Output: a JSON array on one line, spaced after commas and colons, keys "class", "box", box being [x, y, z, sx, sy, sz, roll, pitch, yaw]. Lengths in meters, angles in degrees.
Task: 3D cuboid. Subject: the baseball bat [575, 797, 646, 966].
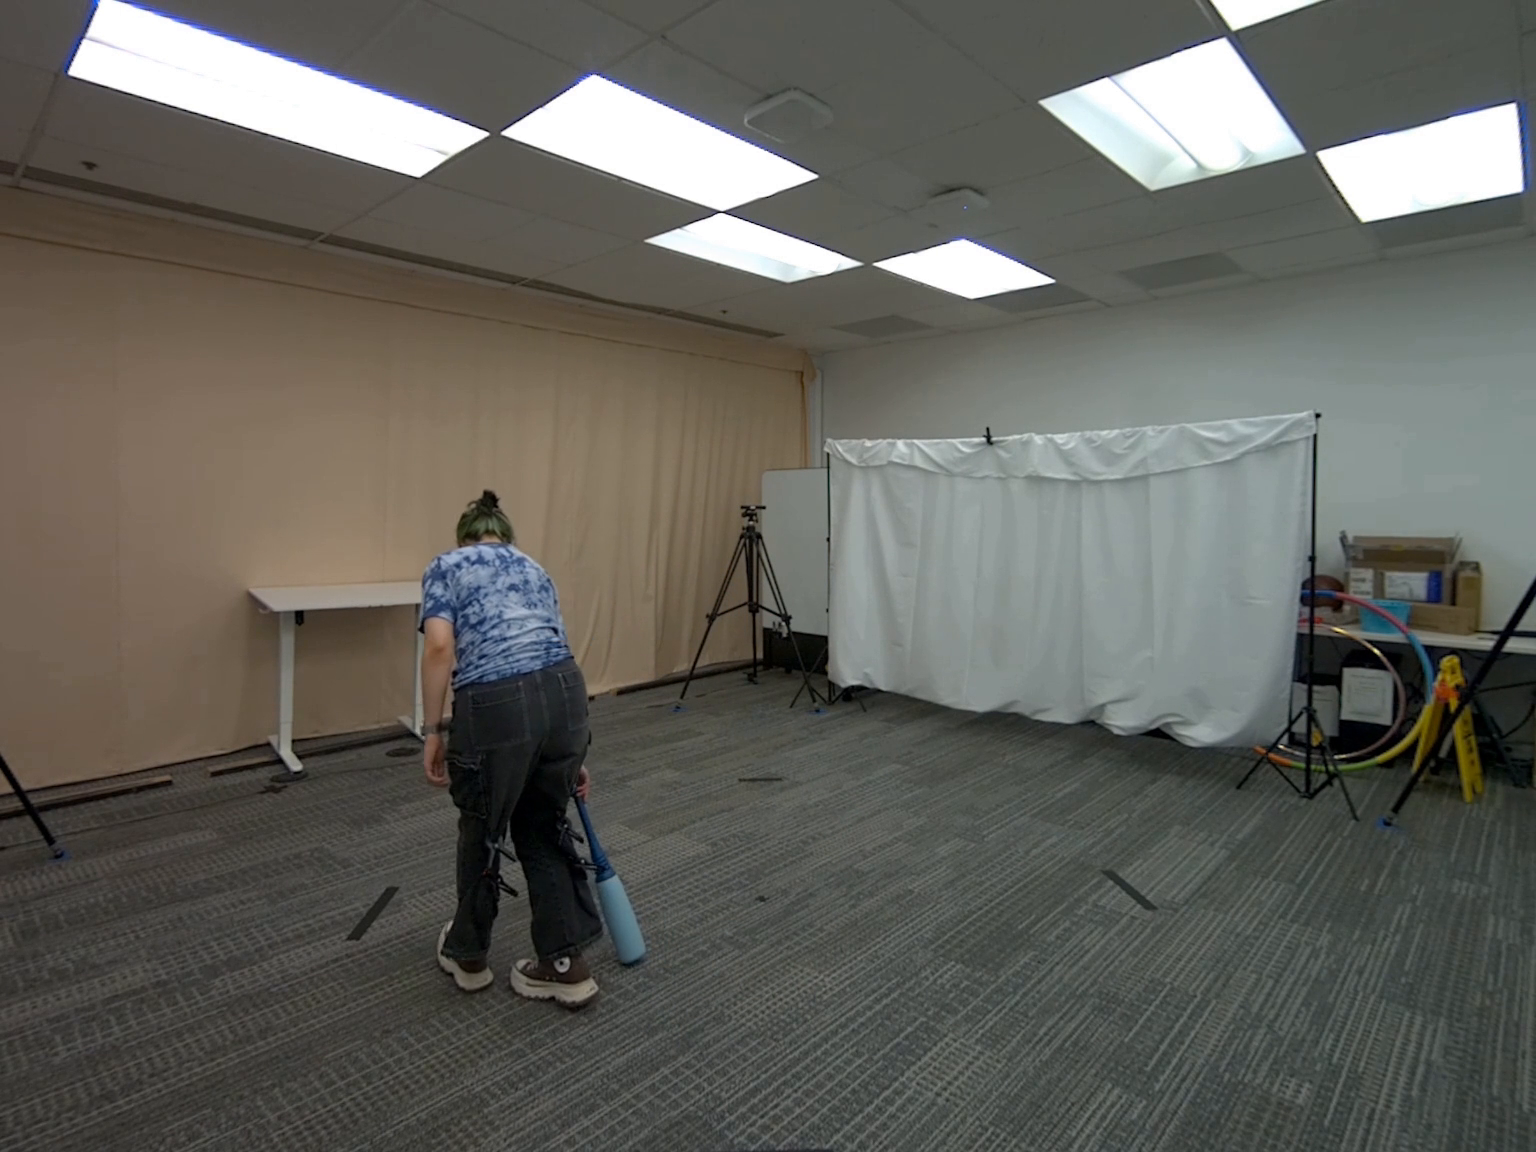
[{"class": "baseball bat", "box": [-0.512, 0.924, 2.611, 0.089, 0.547, 0.088, -21, -8, -5]}]
